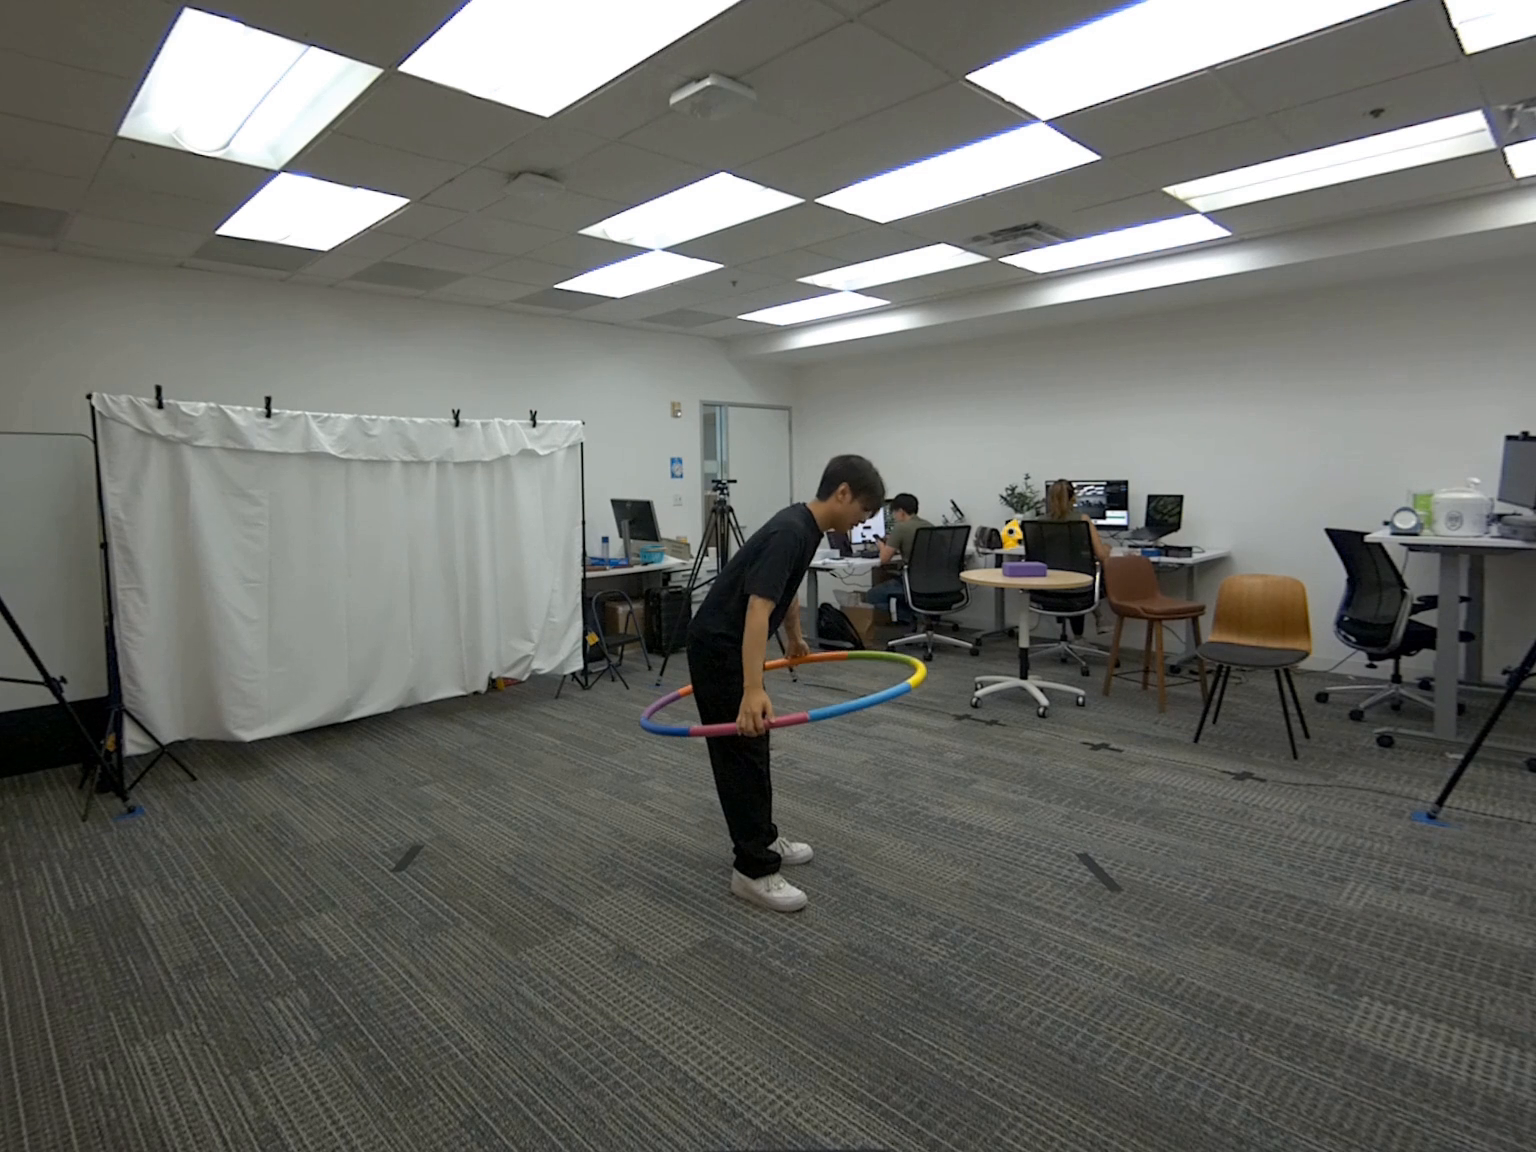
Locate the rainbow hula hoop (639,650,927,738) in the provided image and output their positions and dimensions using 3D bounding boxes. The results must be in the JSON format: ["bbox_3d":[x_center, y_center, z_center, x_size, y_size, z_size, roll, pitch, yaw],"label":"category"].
[{"bbox_3d":[0.035,0.388,2.939,0.978,0.035,0.981,-11,4,-1],"label":"rainbow hula hoop"}]
